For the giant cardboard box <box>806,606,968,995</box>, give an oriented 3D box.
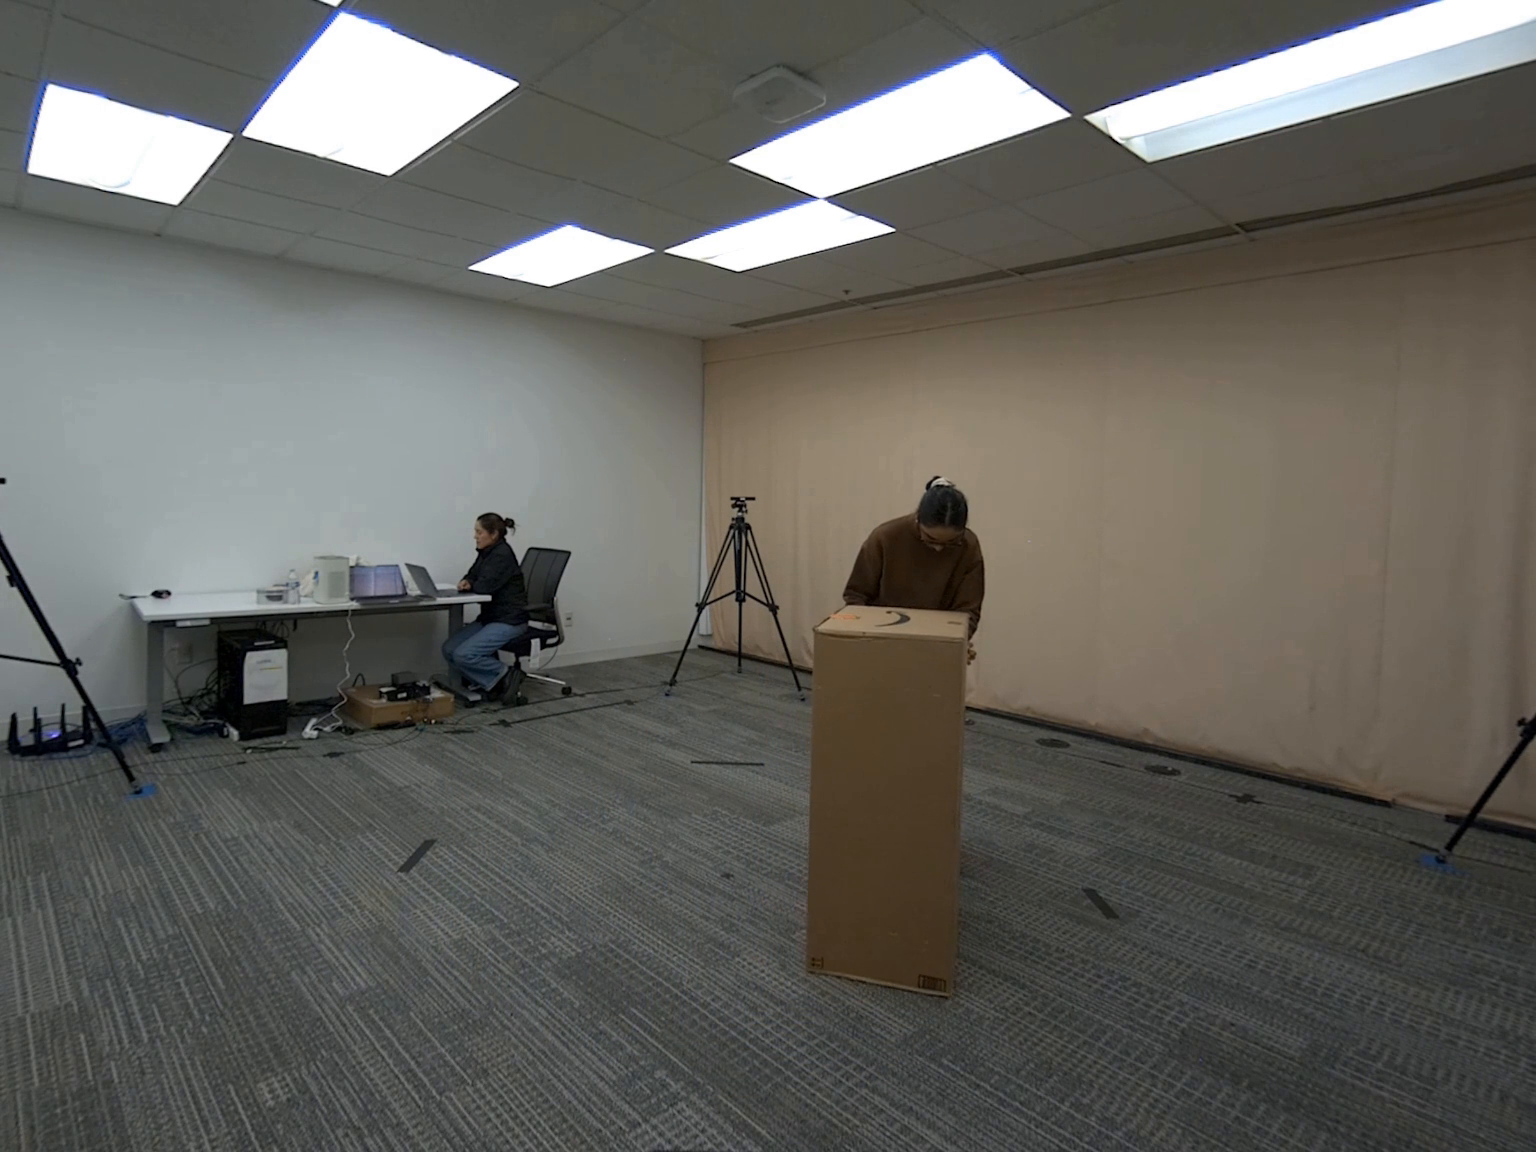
[{"bbox_3d":[0.381,0.647,2.664,0.432,1.023,0.571,2,4,16],"label":"giant cardboard box"}]
